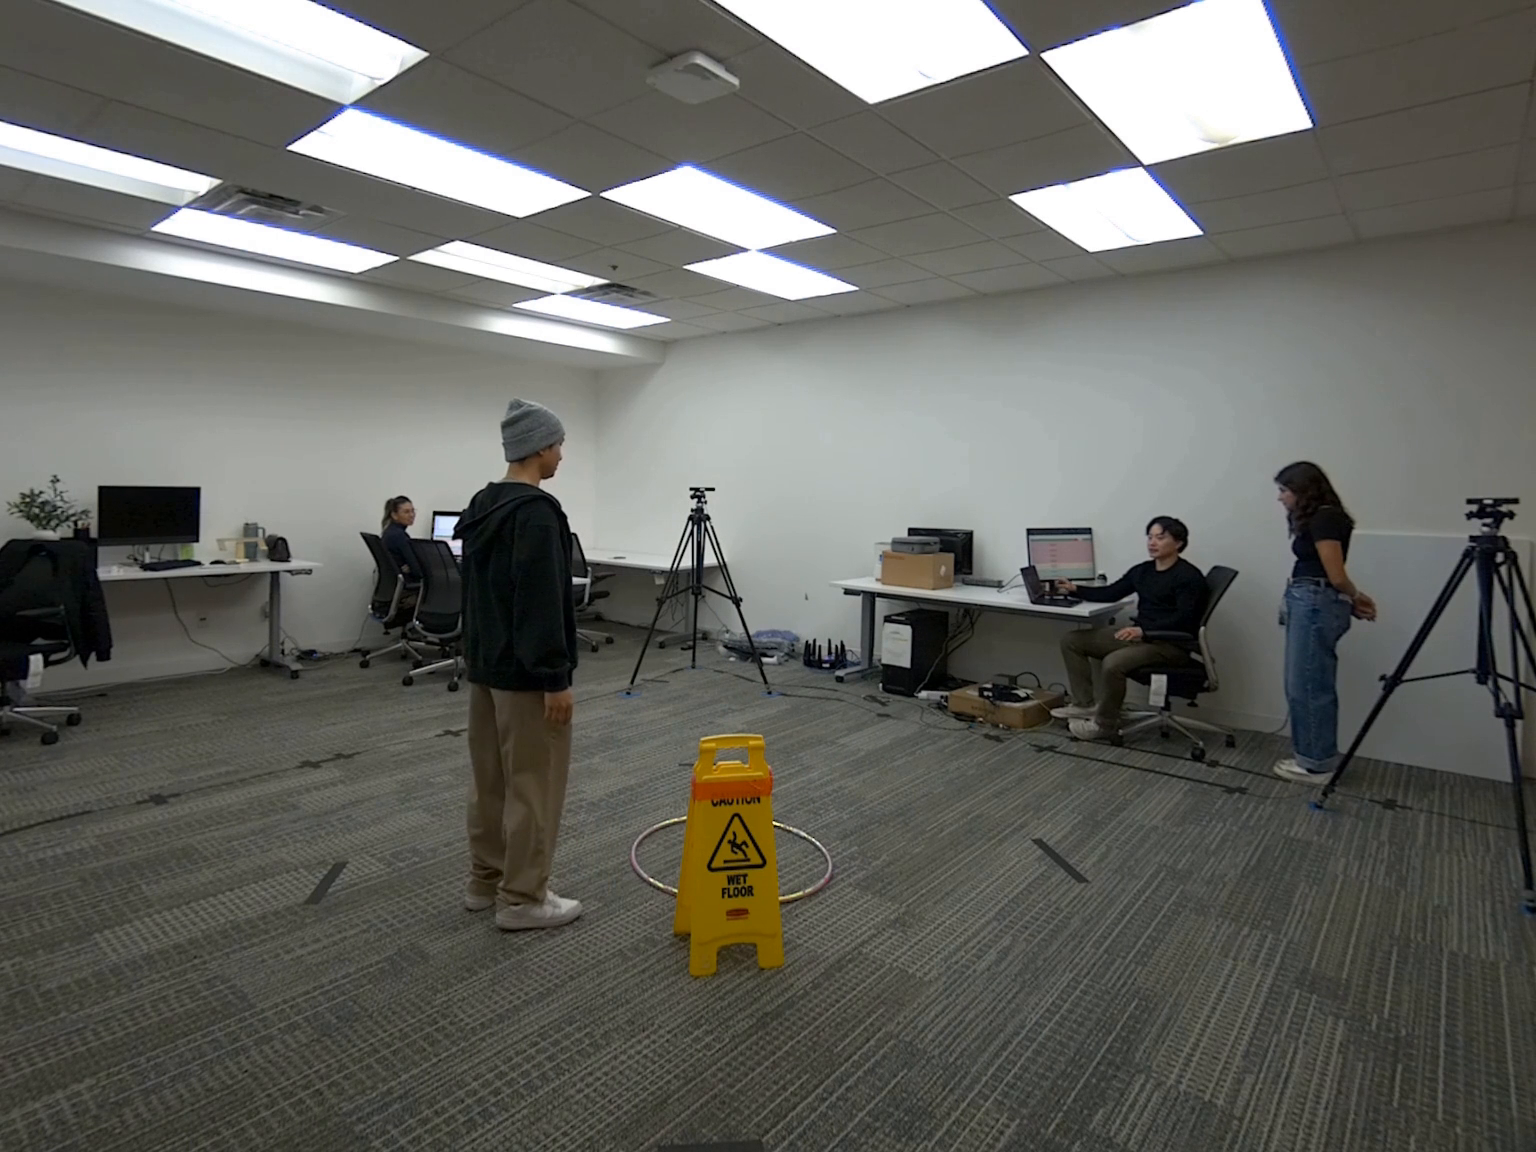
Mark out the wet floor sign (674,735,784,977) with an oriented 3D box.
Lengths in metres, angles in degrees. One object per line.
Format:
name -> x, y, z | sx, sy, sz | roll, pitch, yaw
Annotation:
wet floor sign -> -0.130, 0.801, 2.543 | 0.278, 0.644, 0.295 | 1, 3, -15
